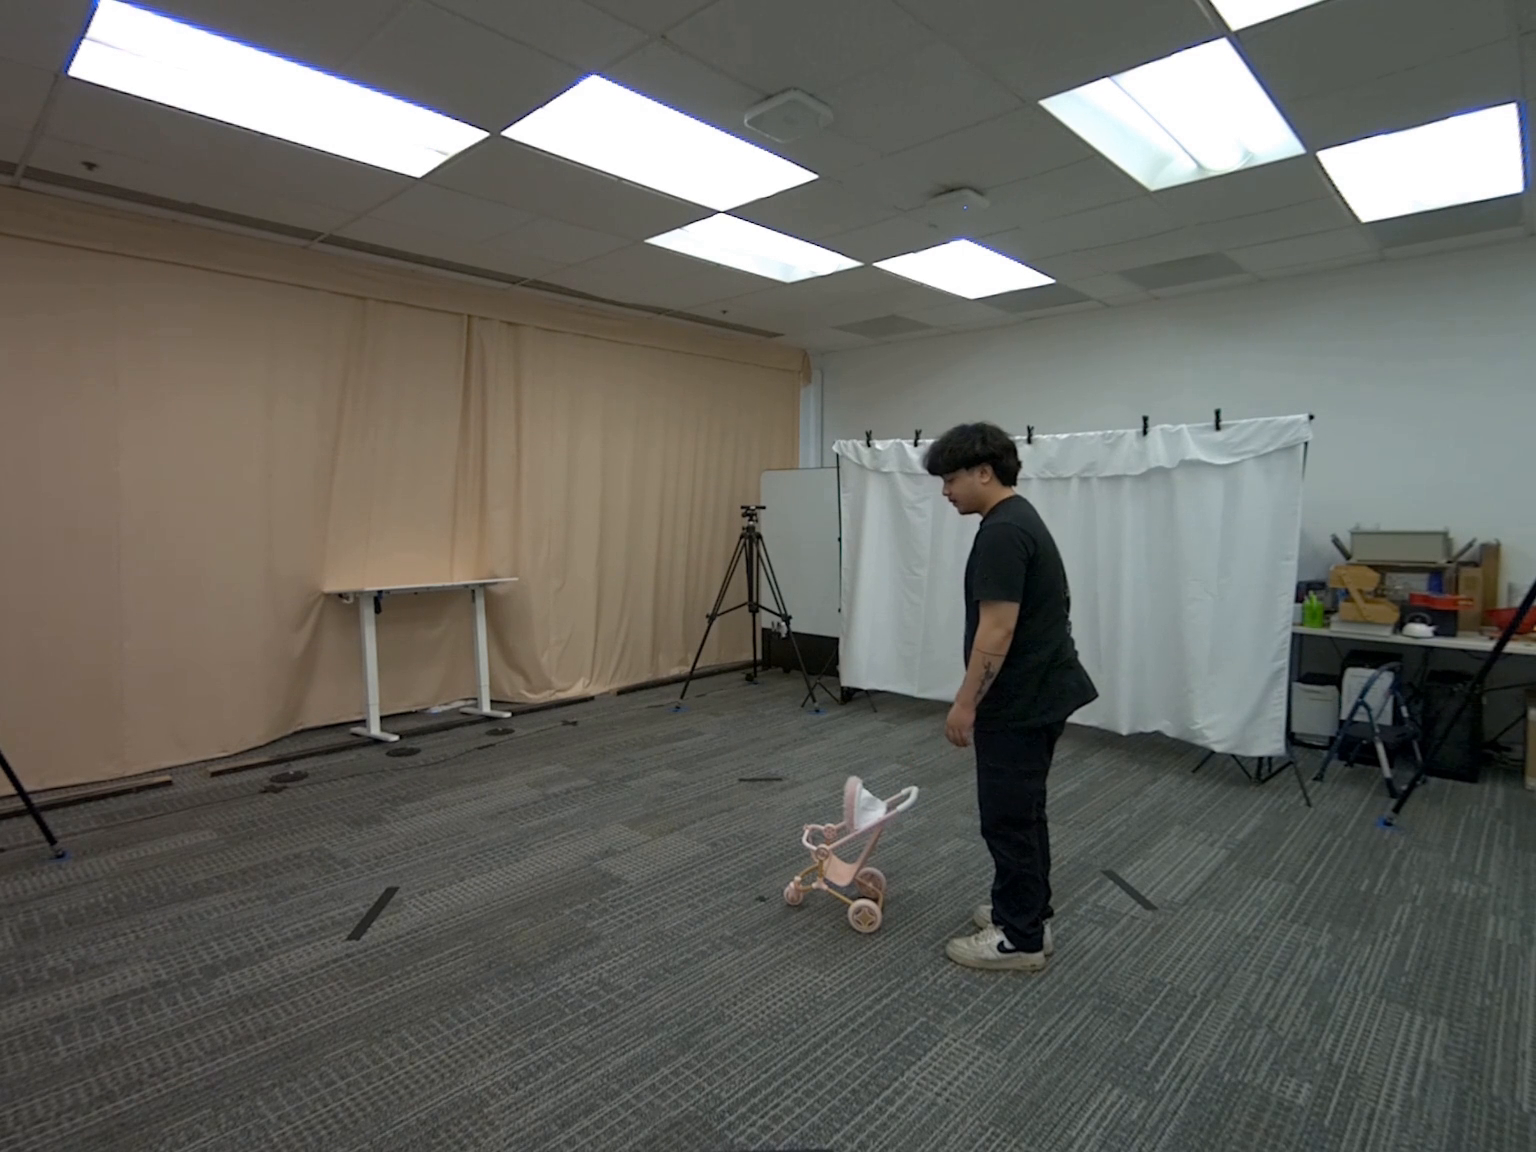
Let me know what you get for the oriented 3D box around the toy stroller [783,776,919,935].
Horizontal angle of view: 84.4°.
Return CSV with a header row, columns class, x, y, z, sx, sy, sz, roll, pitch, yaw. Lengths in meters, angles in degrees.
class,x,y,z,sx,sy,sz,roll,pitch,yaw
toy stroller,0.280,0.928,2.877,0.349,0.533,0.276,17,8,18
